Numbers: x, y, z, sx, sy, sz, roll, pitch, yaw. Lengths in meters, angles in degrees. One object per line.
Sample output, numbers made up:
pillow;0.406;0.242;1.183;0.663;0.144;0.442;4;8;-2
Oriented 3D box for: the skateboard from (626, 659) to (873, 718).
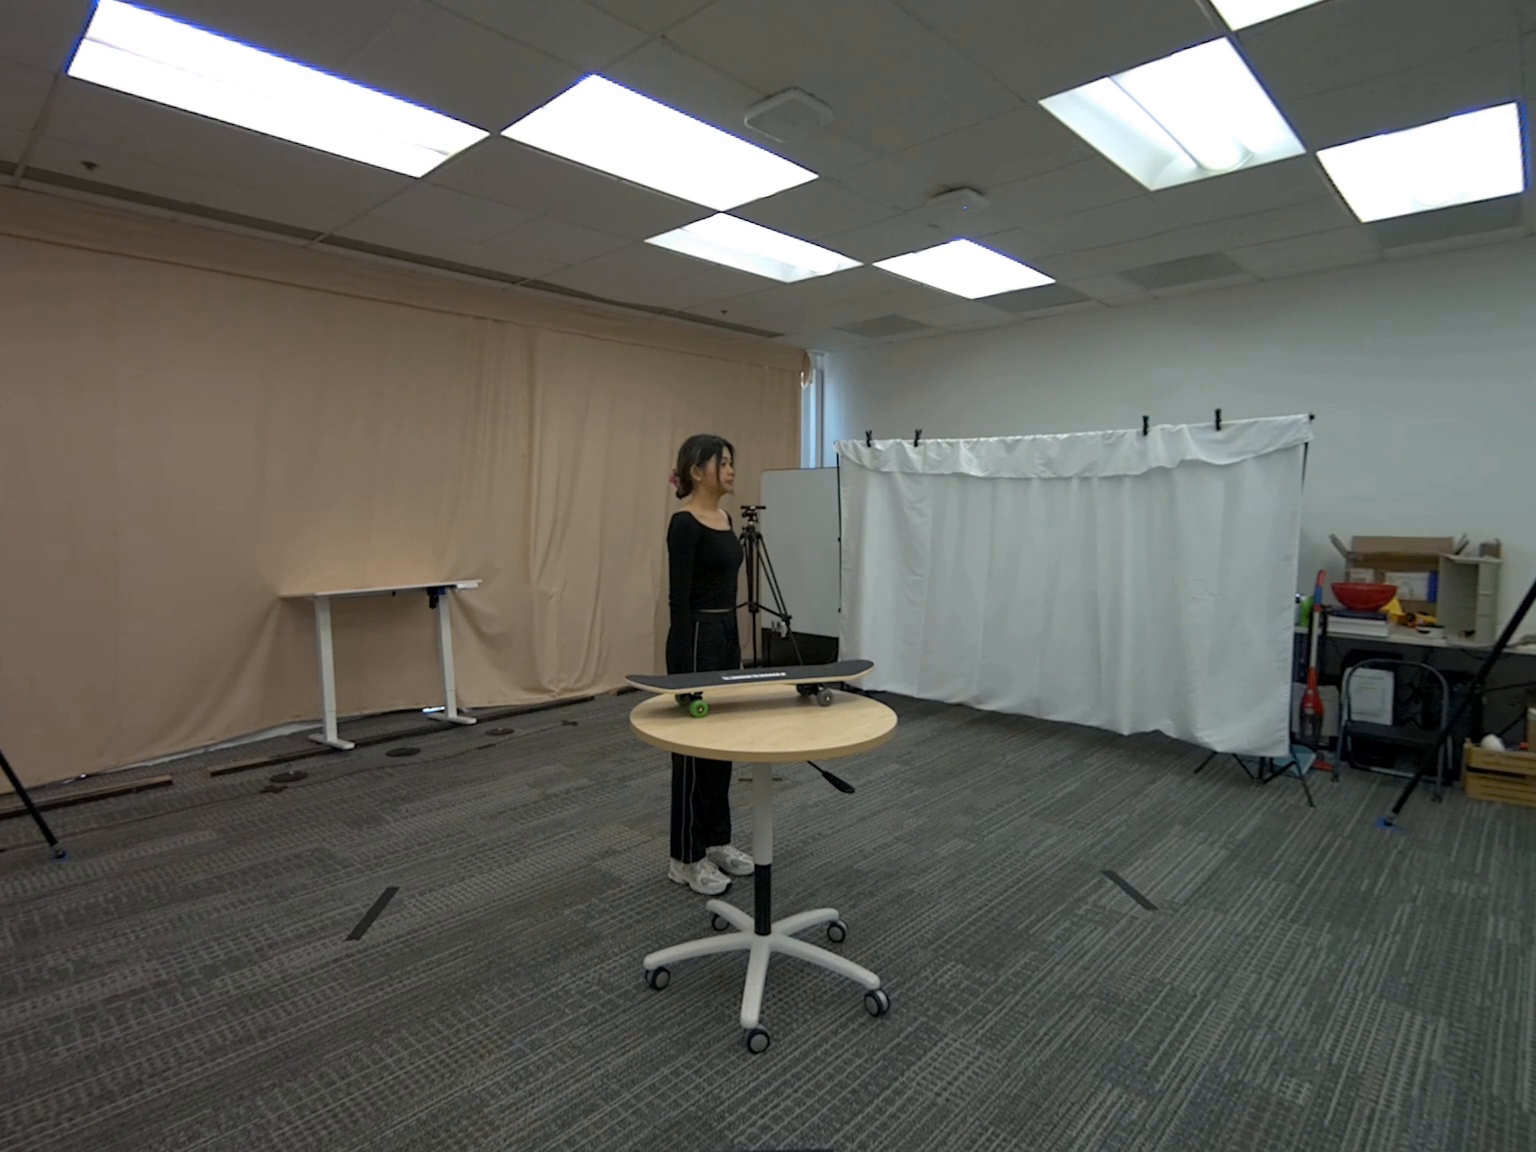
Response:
skateboard;-0.037;0.341;2.523;0.771;0.110;0.197;-2;5;-18
